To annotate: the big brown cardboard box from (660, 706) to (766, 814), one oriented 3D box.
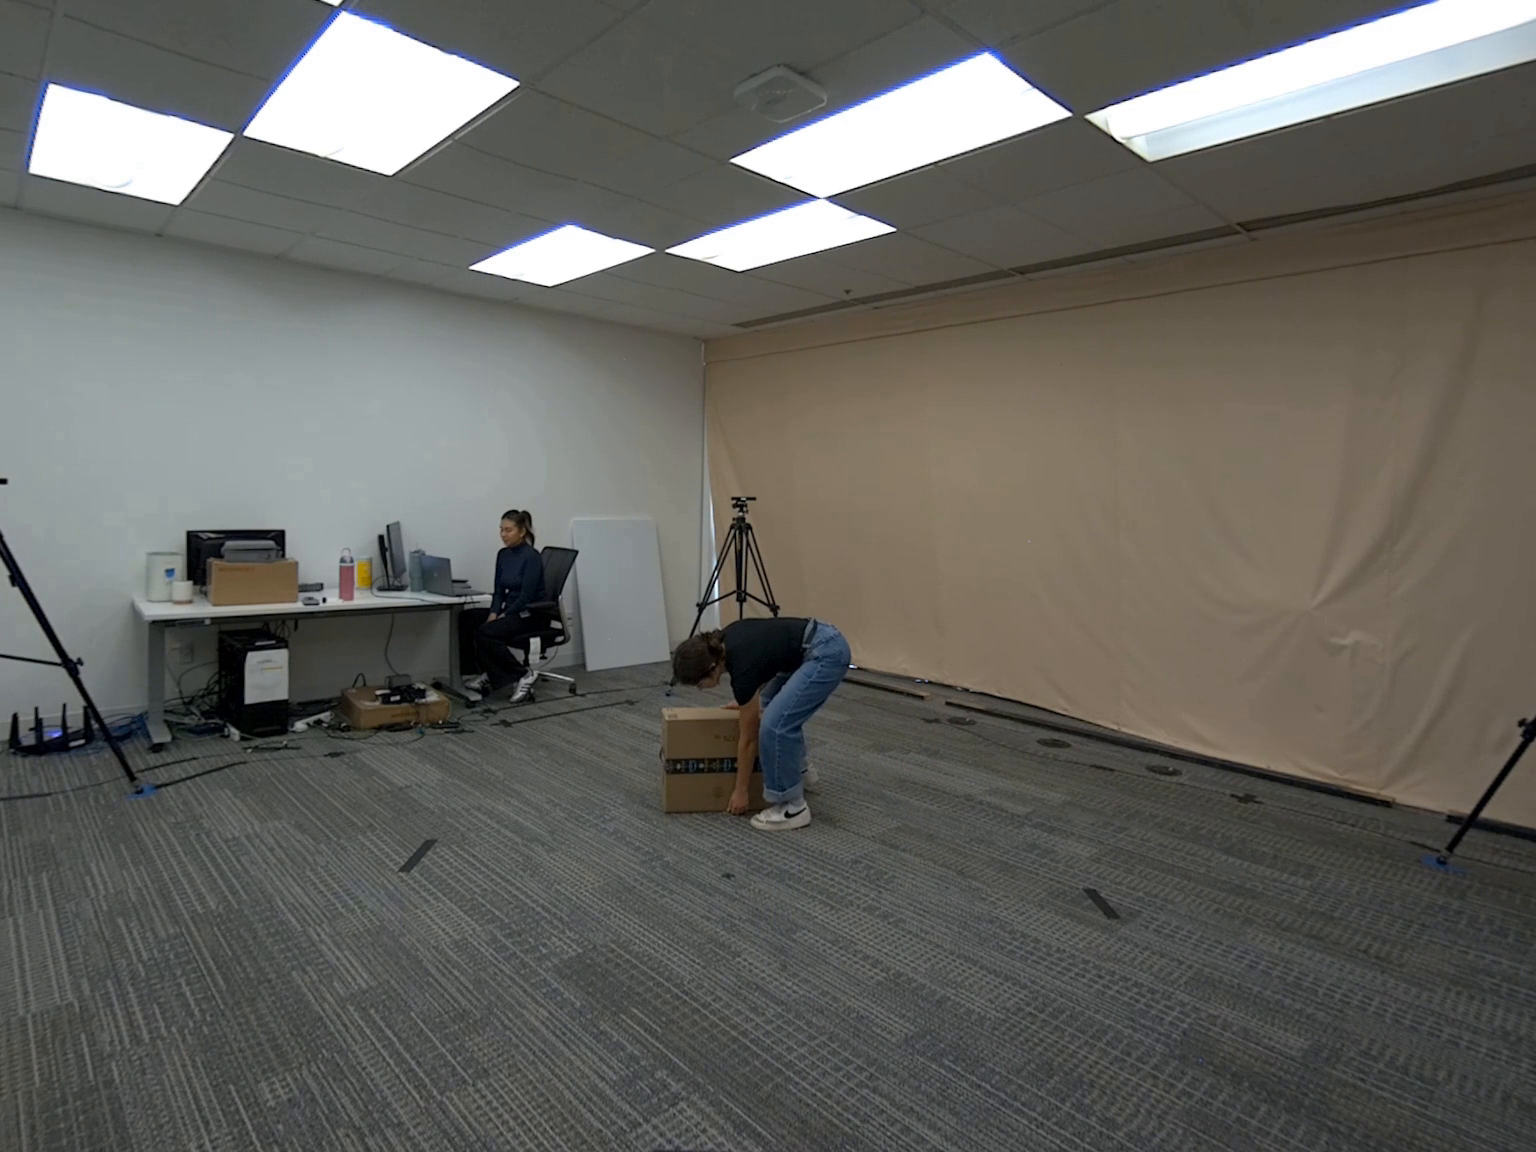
[{"bbox_3d":[-0.212,0.828,3.845,0.585,0.417,0.235,2,3,-9],"label":"big brown cardboard box"}]
